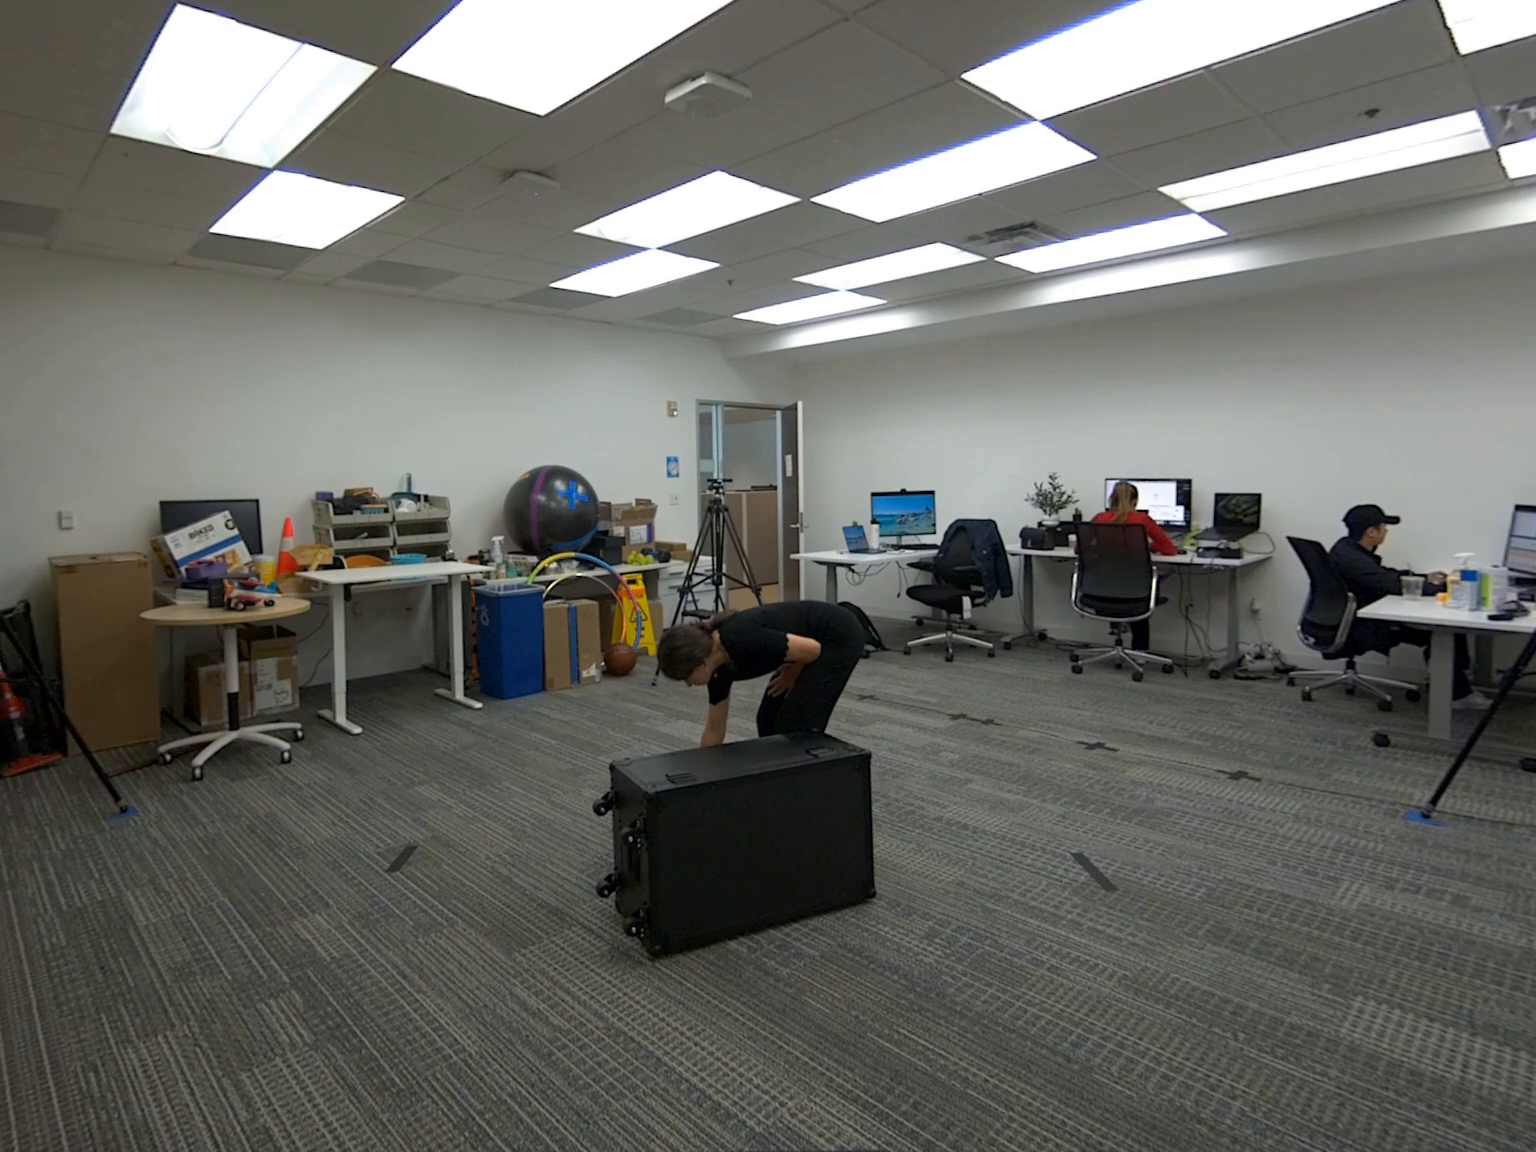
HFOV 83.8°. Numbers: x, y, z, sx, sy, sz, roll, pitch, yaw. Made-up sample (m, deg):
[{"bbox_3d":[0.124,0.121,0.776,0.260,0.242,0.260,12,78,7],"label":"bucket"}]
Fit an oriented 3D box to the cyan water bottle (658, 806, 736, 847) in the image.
[{"bbox_3d":[-0.277,0.967,3.318,0.277,0.092,0.094,0,4,-24],"label":"cyan water bottle"}]
